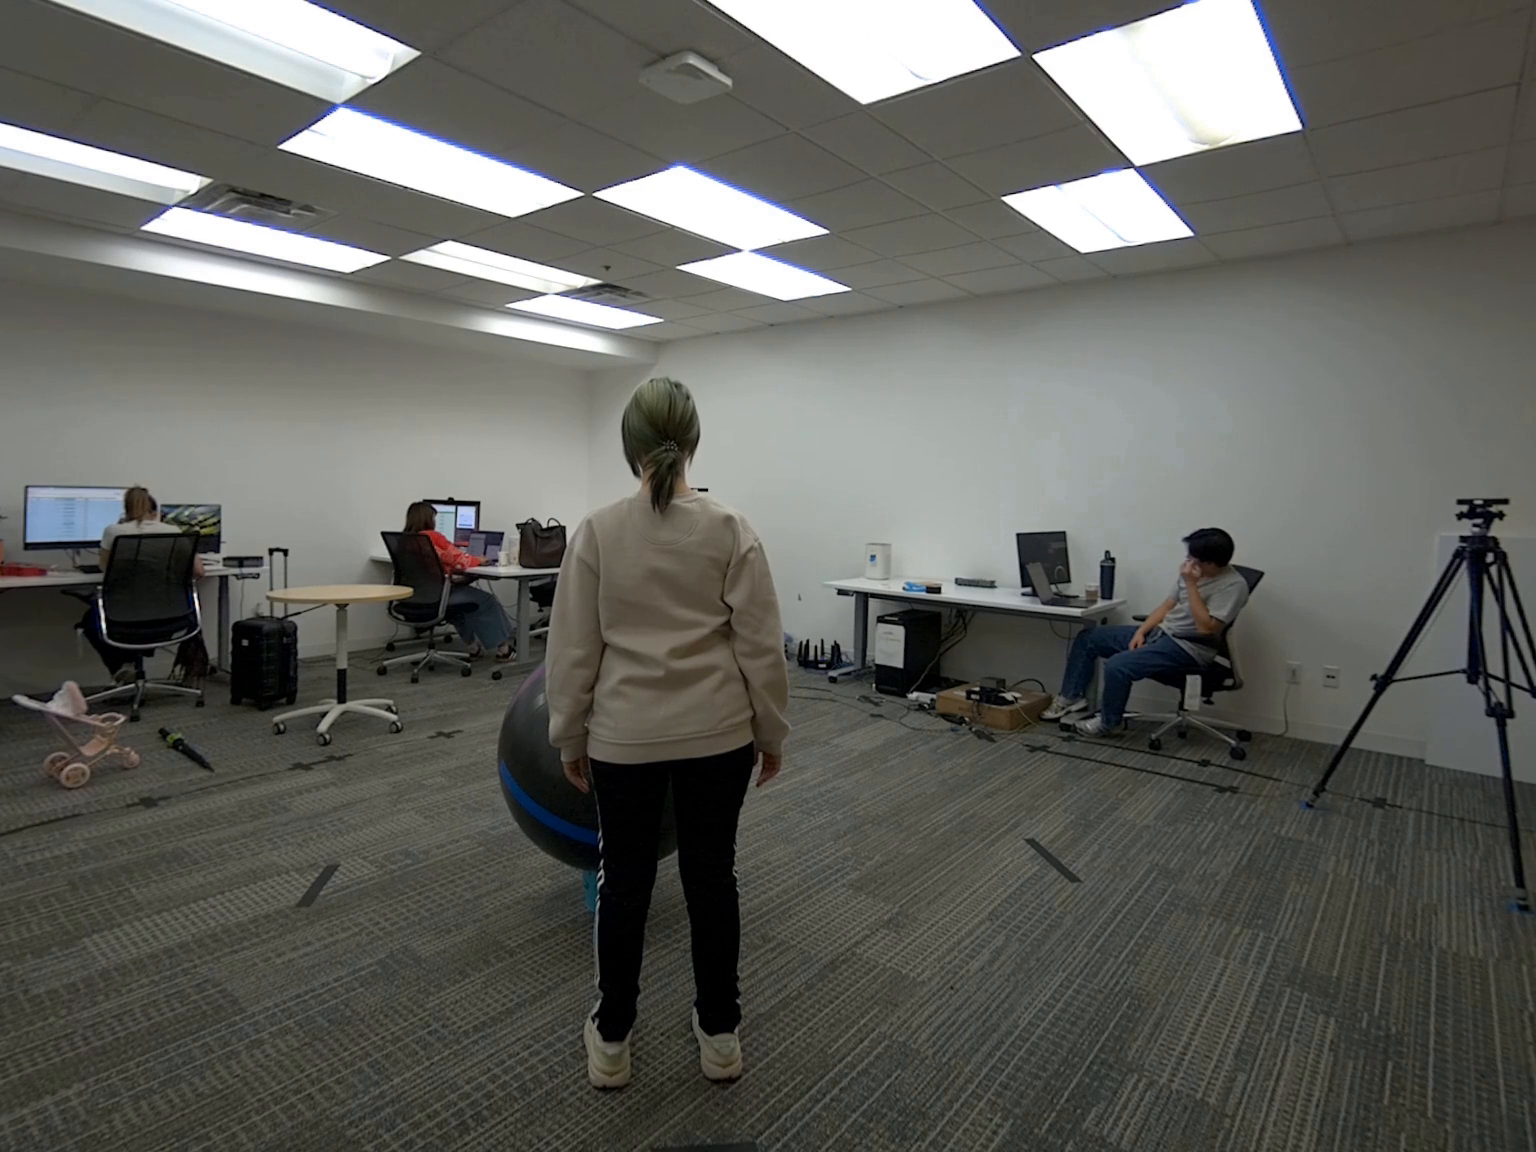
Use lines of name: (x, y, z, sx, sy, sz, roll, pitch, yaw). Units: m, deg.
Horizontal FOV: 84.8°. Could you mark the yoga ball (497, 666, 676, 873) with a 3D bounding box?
yoga ball: (-0.526, 0.581, 2.833, 0.757, 0.755, 0.762, 1, 4, -2)
